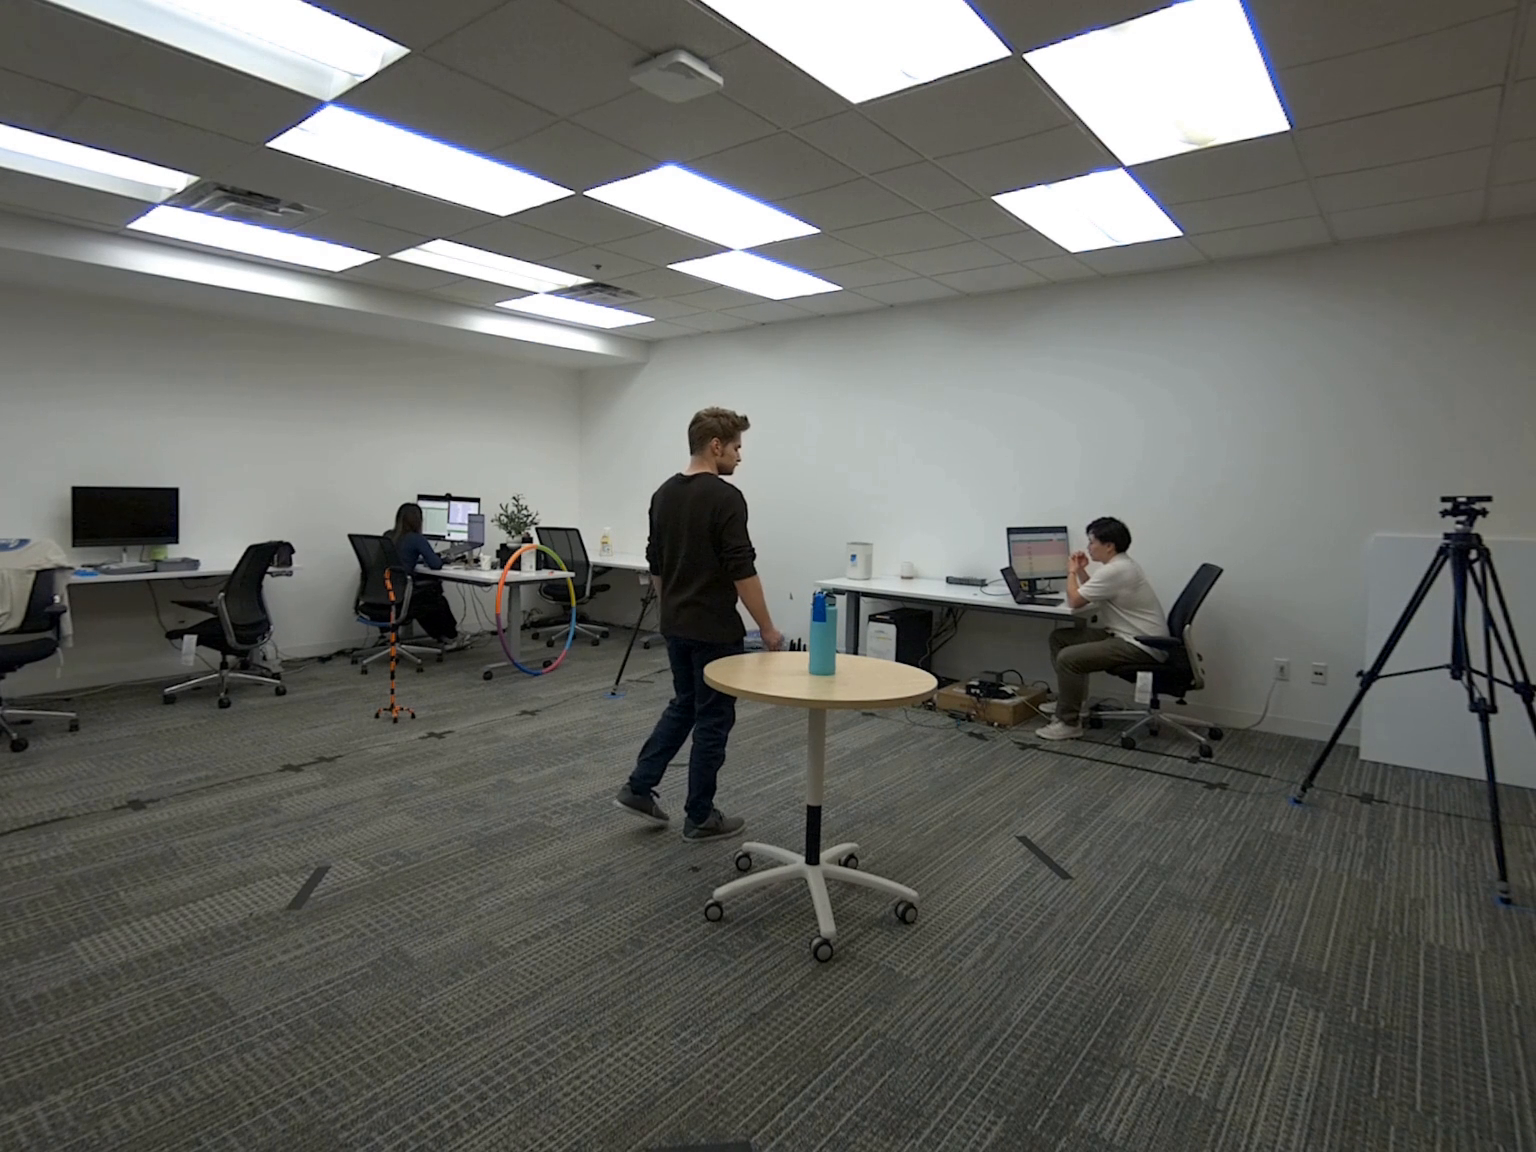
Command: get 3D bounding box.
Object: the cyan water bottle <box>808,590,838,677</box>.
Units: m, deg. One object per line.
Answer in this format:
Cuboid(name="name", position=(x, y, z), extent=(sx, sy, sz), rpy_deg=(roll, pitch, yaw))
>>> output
Cuboid(name="cyan water bottle", position=(0.180, 0.182, 2.821), extent=(0.092, 0.283, 0.092), rpy_deg=(1, 2, -2))
